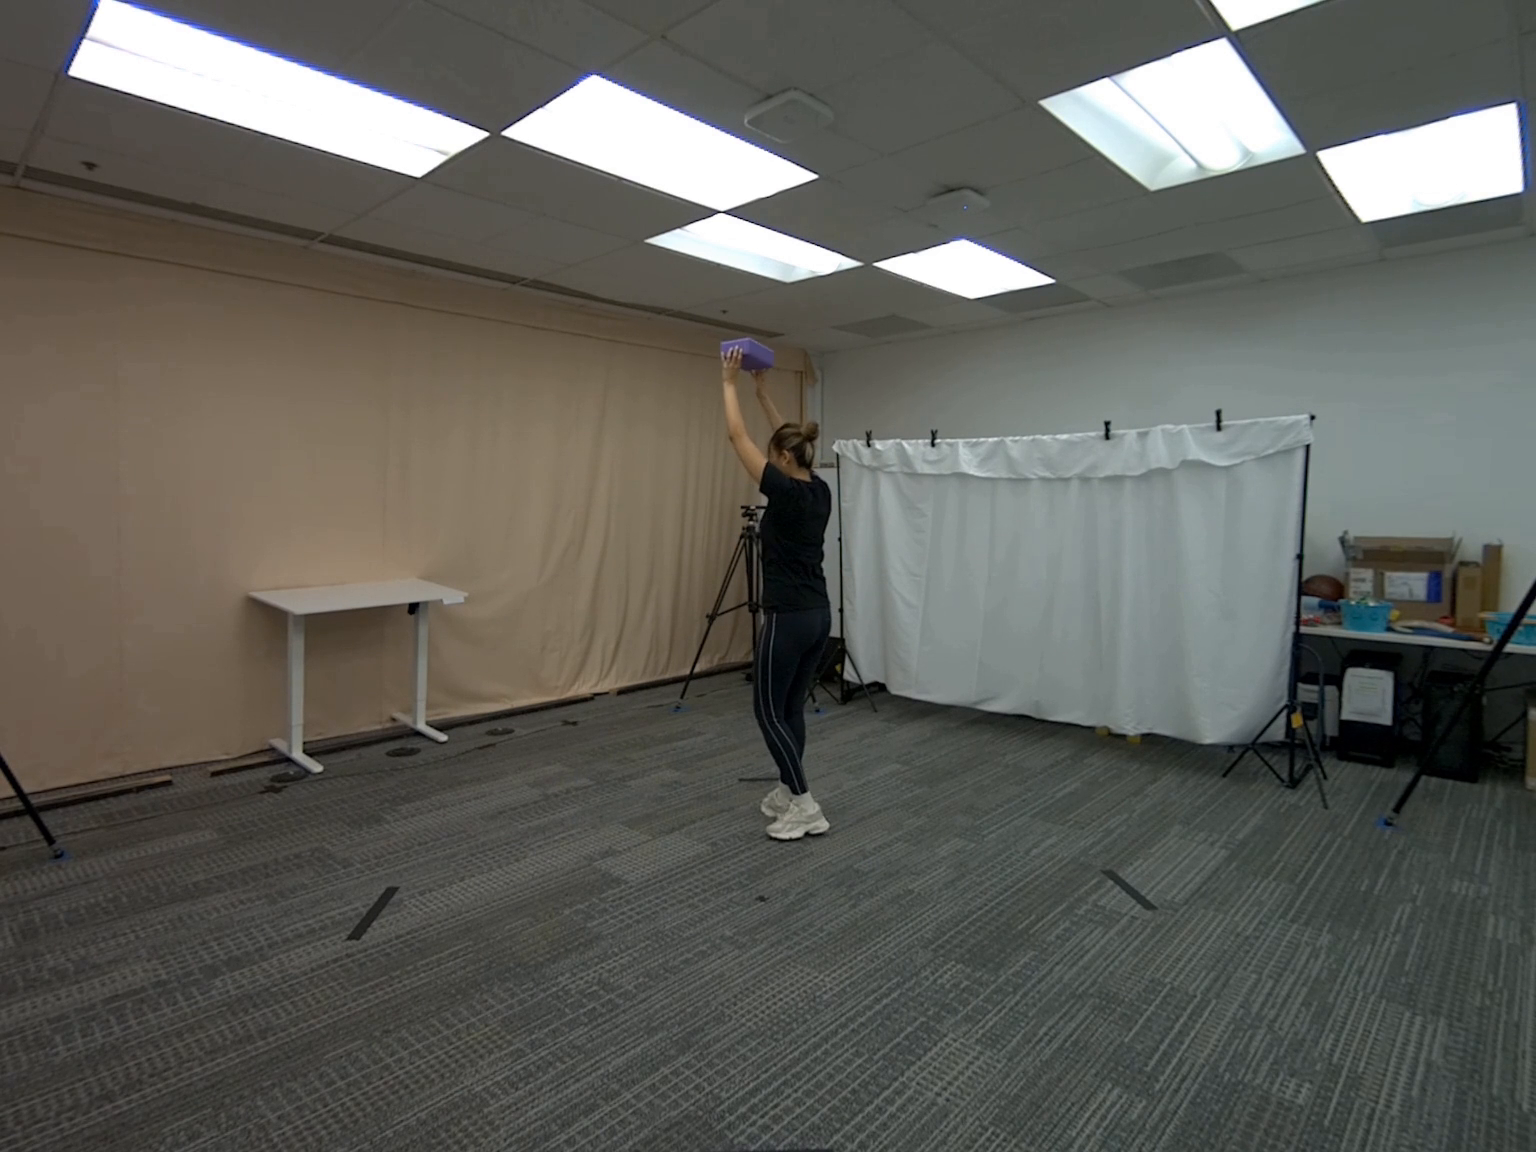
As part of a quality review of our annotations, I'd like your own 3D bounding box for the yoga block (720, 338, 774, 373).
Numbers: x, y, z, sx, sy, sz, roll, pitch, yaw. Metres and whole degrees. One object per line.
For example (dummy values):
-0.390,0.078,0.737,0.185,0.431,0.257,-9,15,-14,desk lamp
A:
-0.090,-0.963,3.671,0.153,0.076,0.223,-1,-2,29,yoga block
